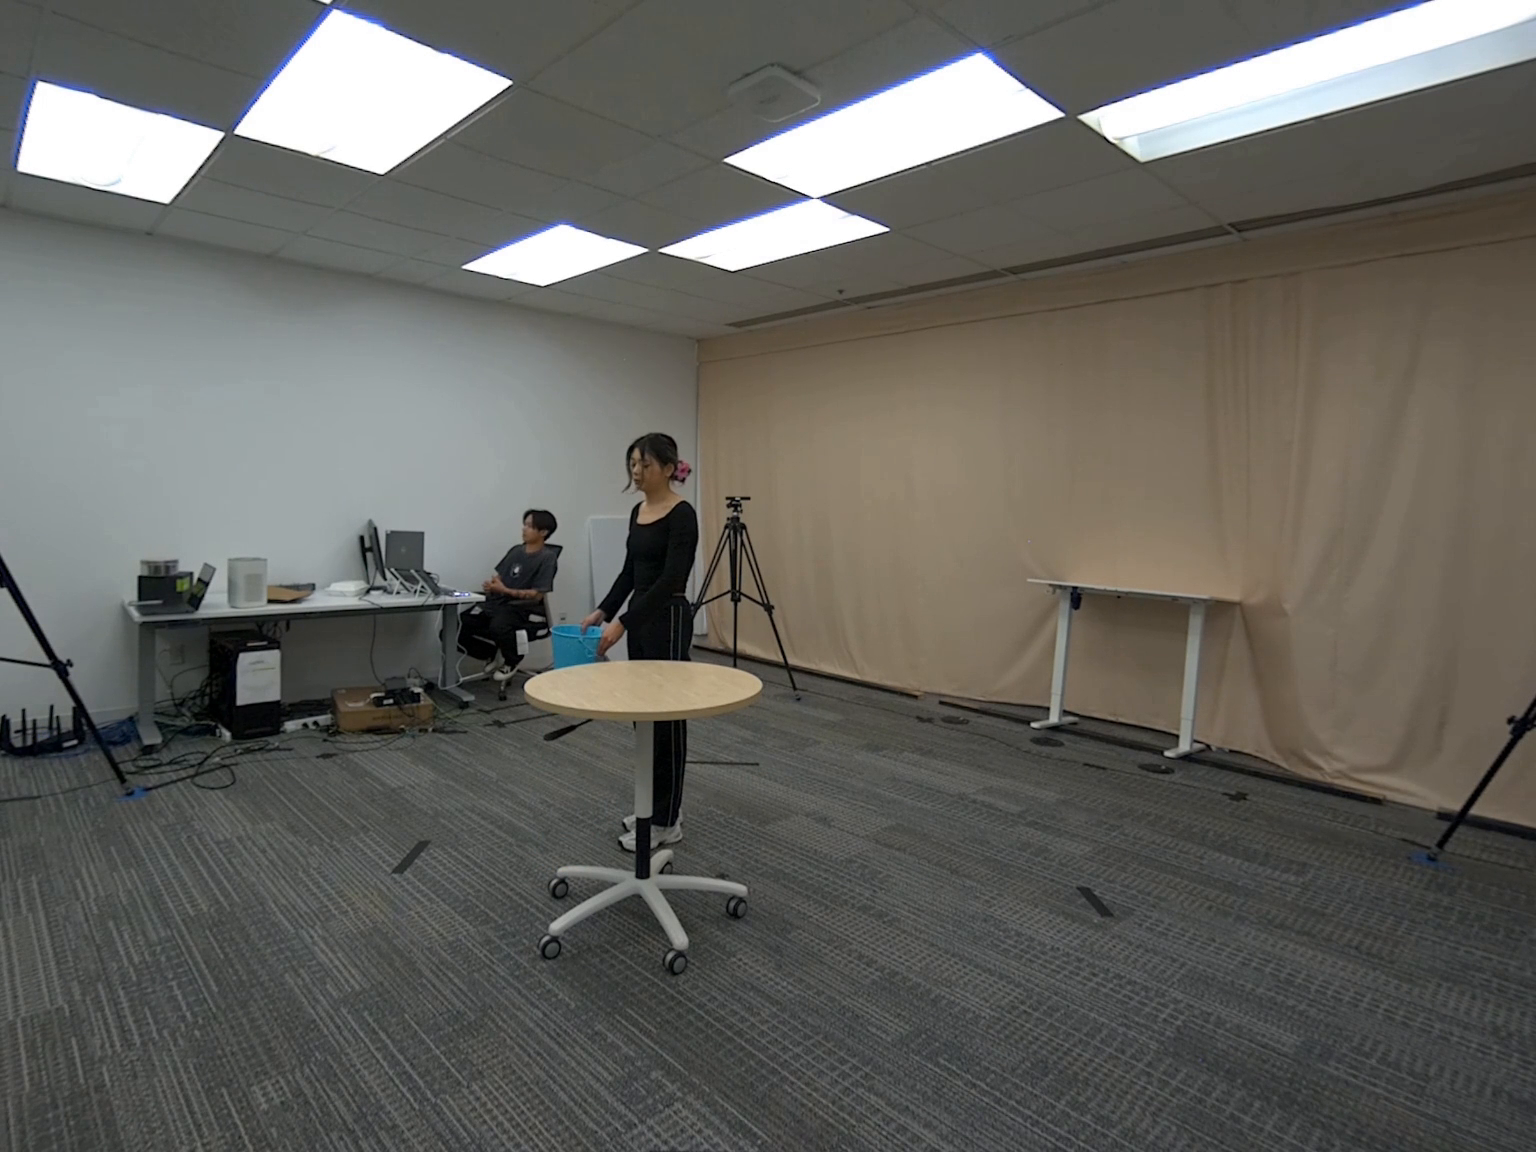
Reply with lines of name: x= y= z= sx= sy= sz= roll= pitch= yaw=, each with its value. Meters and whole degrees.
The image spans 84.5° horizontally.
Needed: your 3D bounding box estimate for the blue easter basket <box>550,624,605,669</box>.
blue easter basket: x=-0.740 y=0.293 z=3.259 sx=0.243 sy=0.155 sz=0.244 roll=4 pitch=5 yaw=-2
